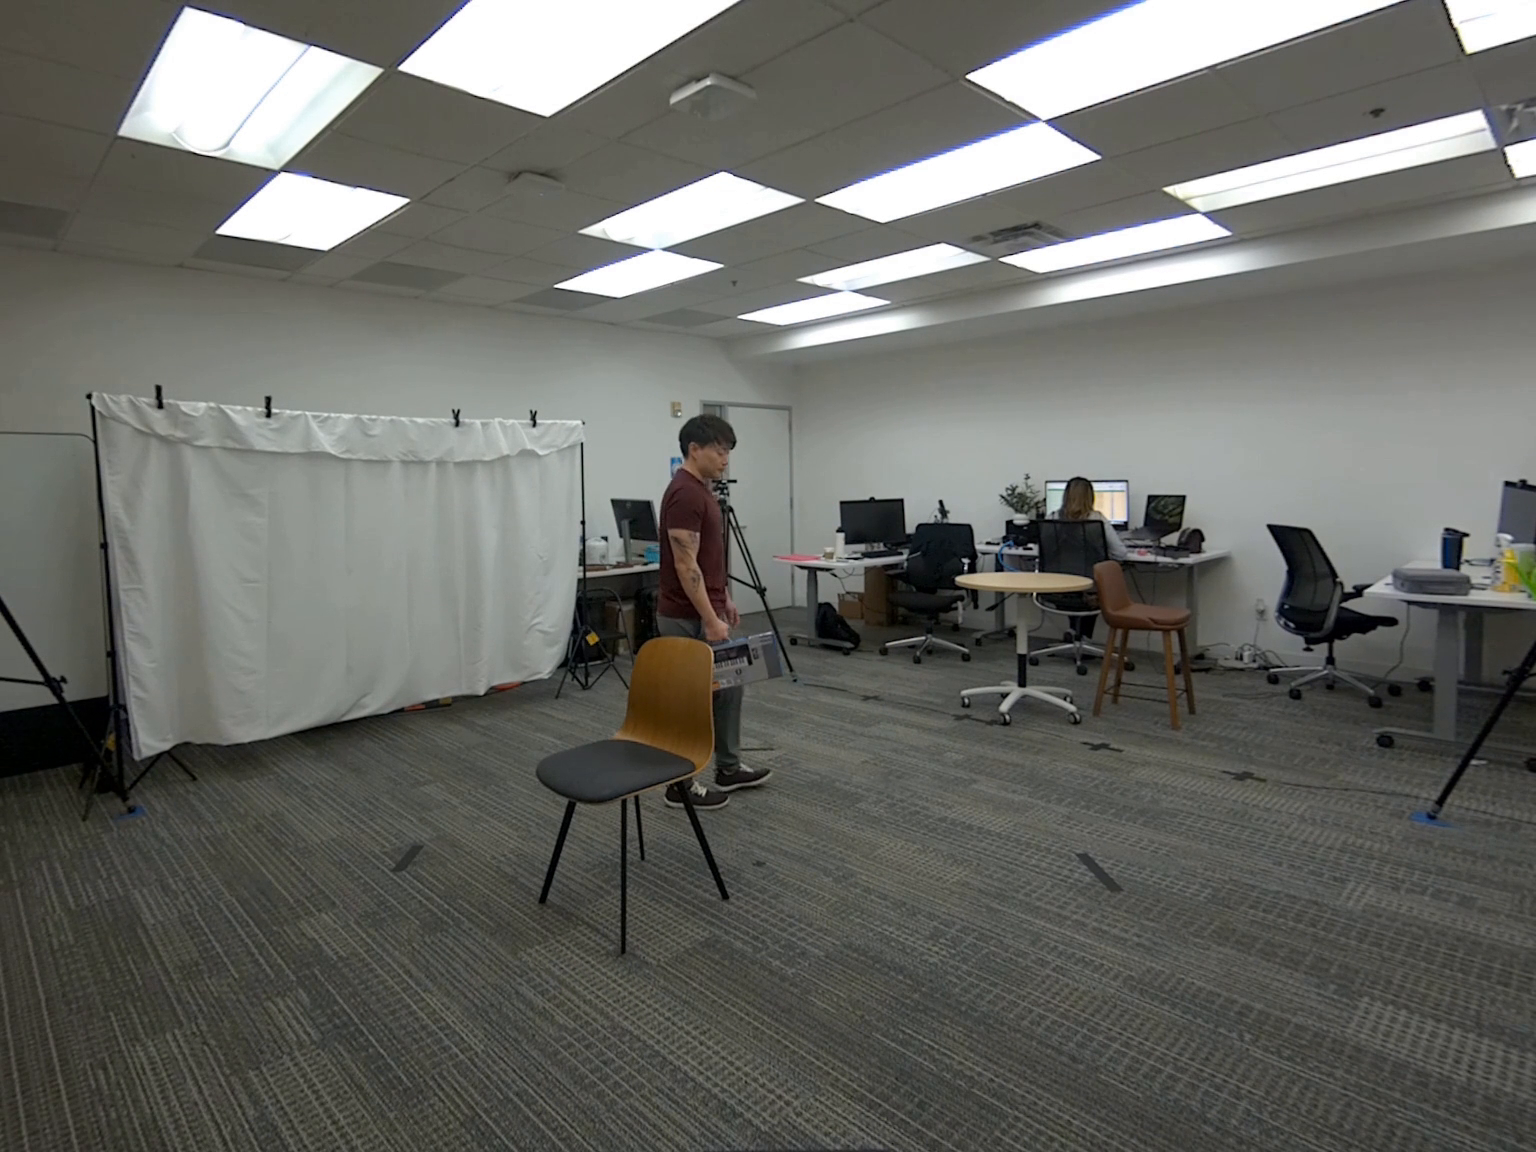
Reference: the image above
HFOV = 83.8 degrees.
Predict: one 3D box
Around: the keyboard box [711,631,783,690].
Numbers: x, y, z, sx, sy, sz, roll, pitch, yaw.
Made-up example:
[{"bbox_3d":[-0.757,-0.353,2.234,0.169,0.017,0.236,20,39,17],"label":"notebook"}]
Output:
[{"bbox_3d":[-0.184,0.351,3.365,0.439,0.175,0.059,-13,4,6],"label":"keyboard box"}]
